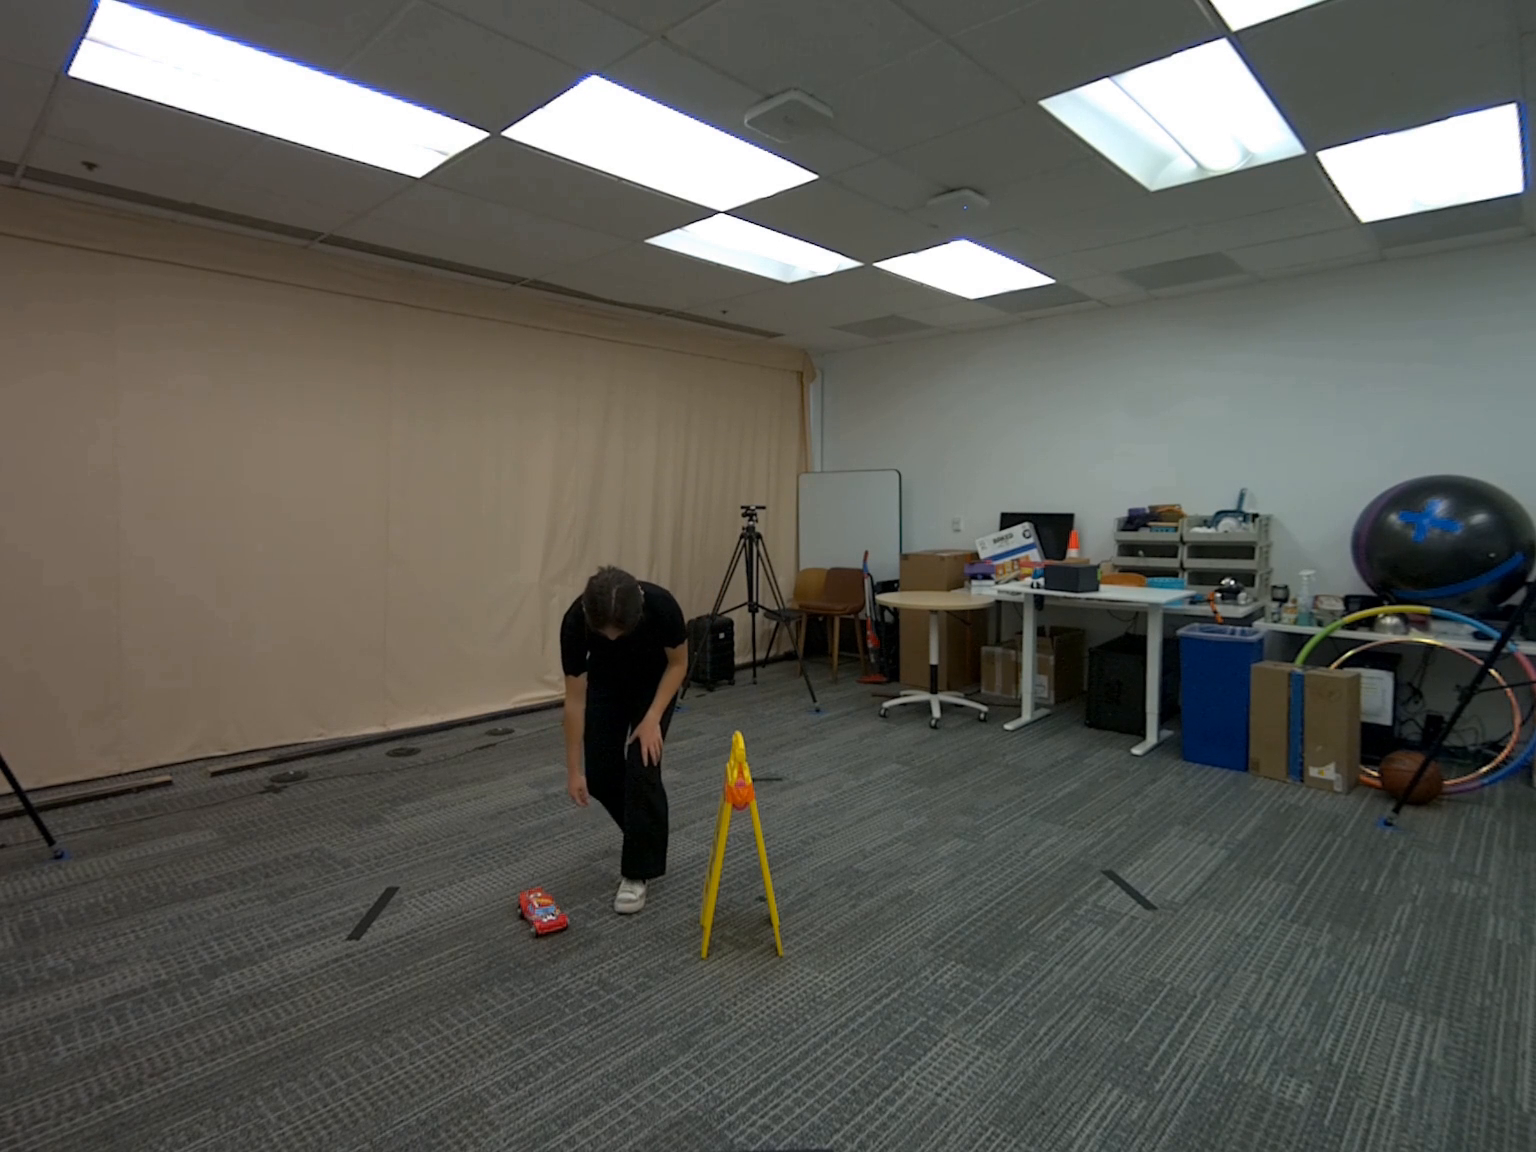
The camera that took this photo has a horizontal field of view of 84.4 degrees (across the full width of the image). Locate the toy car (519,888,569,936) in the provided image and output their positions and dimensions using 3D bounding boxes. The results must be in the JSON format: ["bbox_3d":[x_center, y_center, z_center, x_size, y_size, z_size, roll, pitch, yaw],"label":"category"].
[{"bbox_3d":[-0.760,1.129,2.834,0.127,0.082,0.263,-3,16,-31],"label":"toy car"}]
